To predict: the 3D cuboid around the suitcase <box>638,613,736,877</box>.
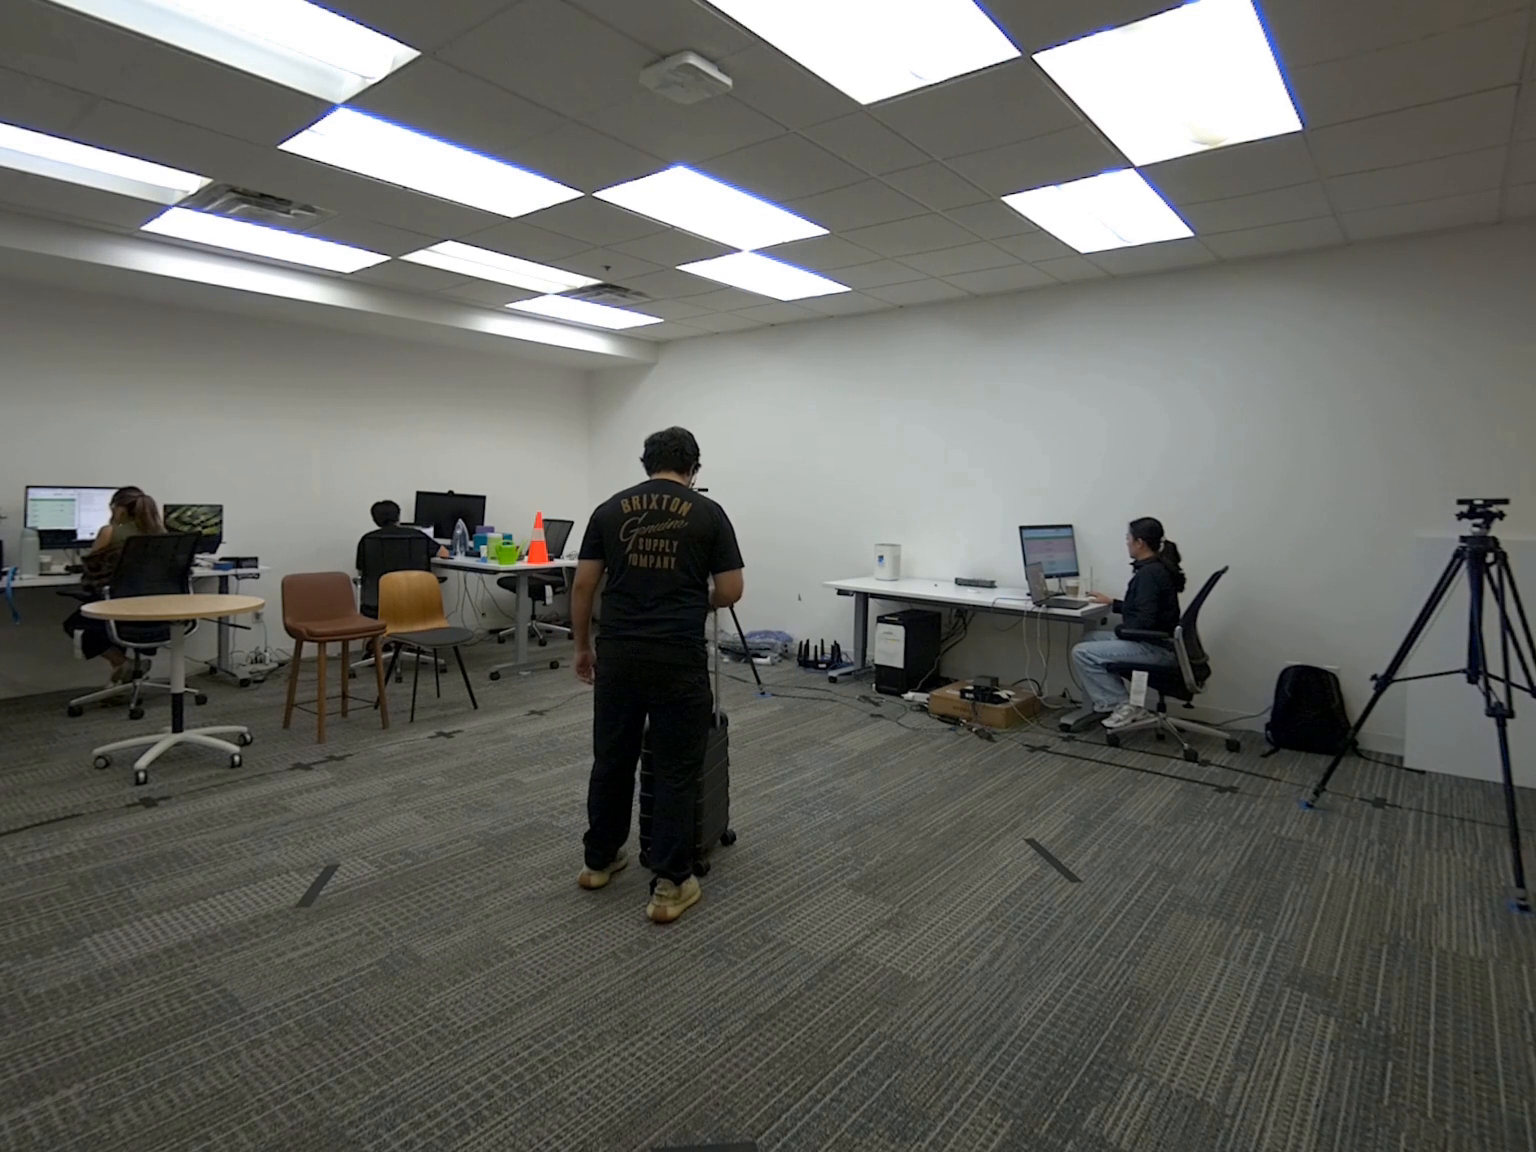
[{"bbox_3d":[-0.321,0.578,3.234,0.262,0.976,0.378,-1,3,16],"label":"suitcase"}]
